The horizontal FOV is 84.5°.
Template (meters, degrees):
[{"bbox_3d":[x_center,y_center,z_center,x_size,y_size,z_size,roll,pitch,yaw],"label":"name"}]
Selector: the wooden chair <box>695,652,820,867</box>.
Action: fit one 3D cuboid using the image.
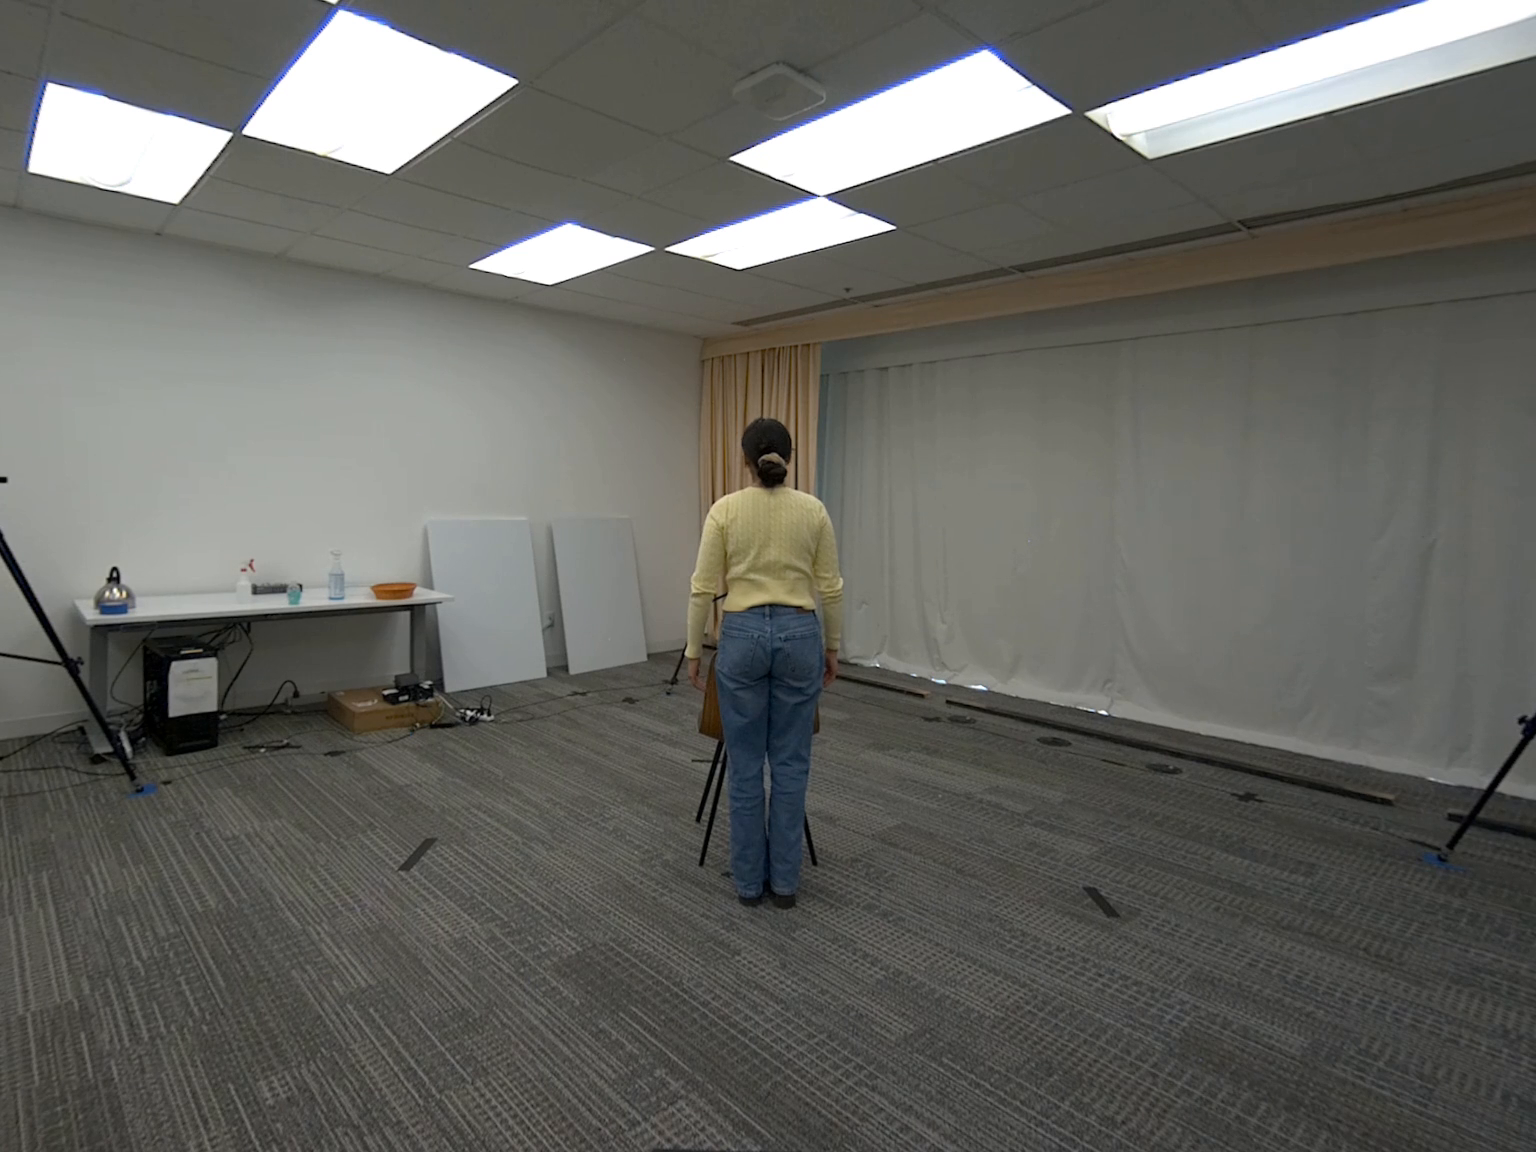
[{"bbox_3d":[-0.056,0.654,3.385,0.476,0.873,0.528,0,7,-5],"label":"wooden chair"}]
